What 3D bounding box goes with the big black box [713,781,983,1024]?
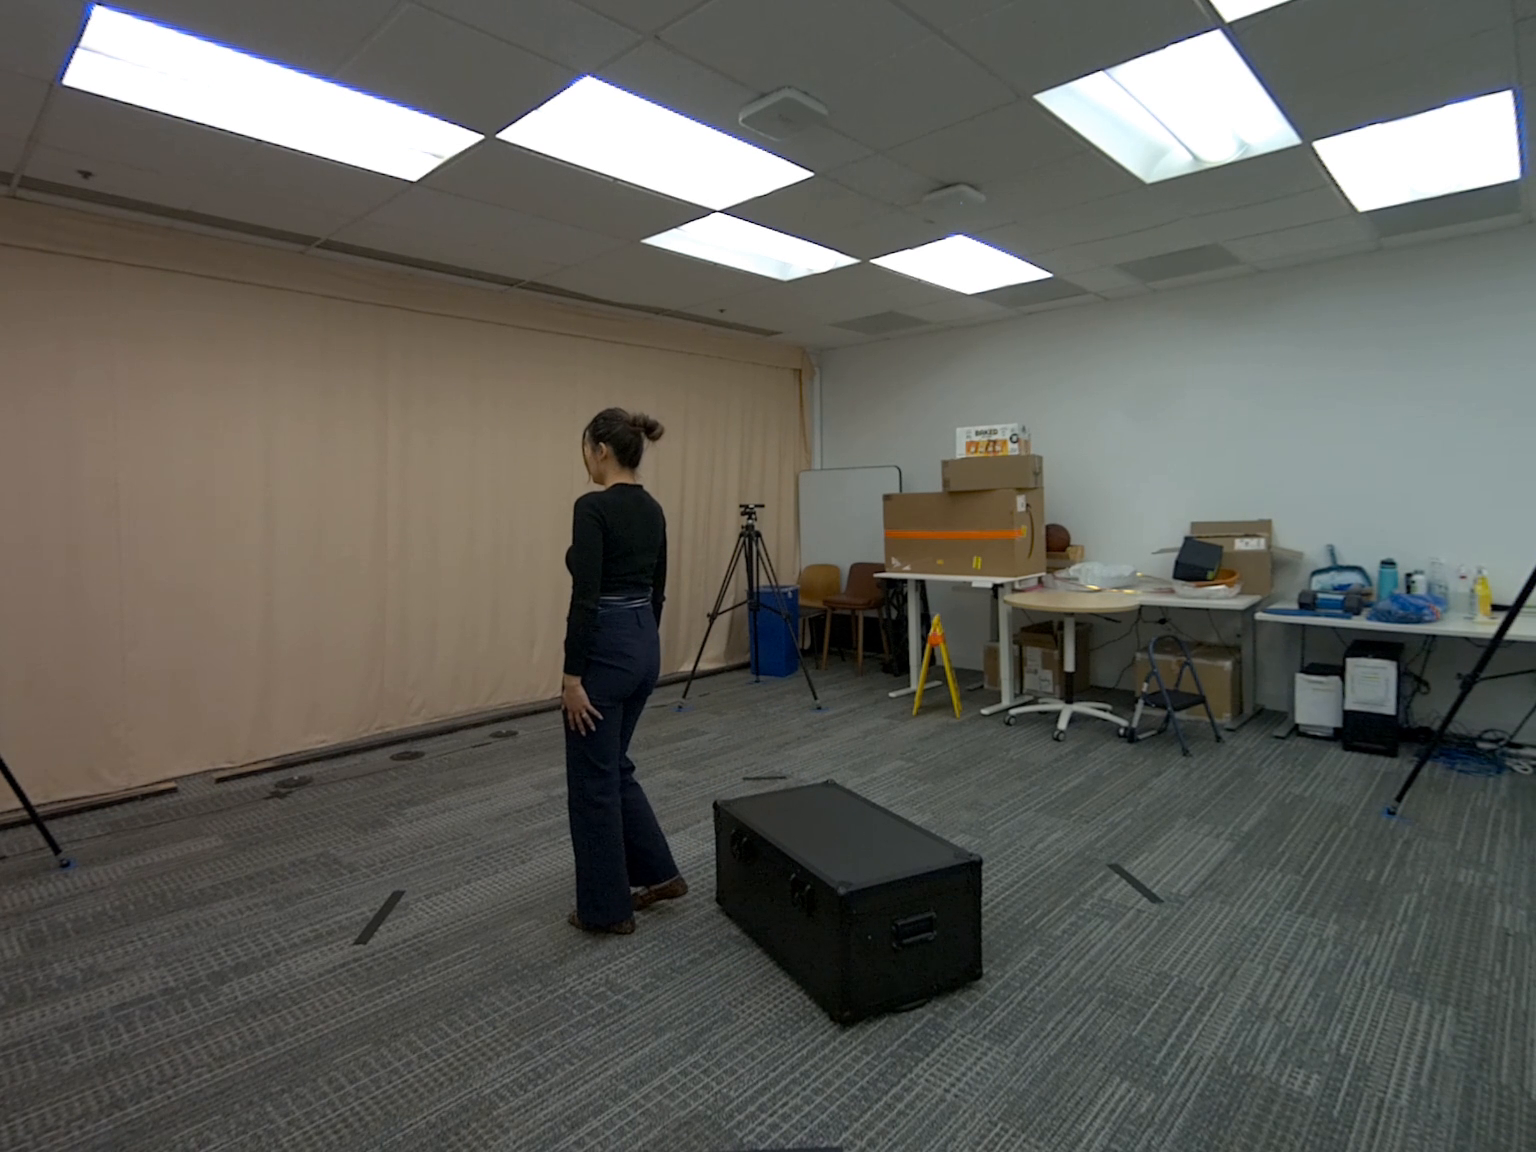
[{"bbox_3d":[0.233,0.979,2.622,0.508,0.395,0.885,-4,5,-28],"label":"big black box"}]
